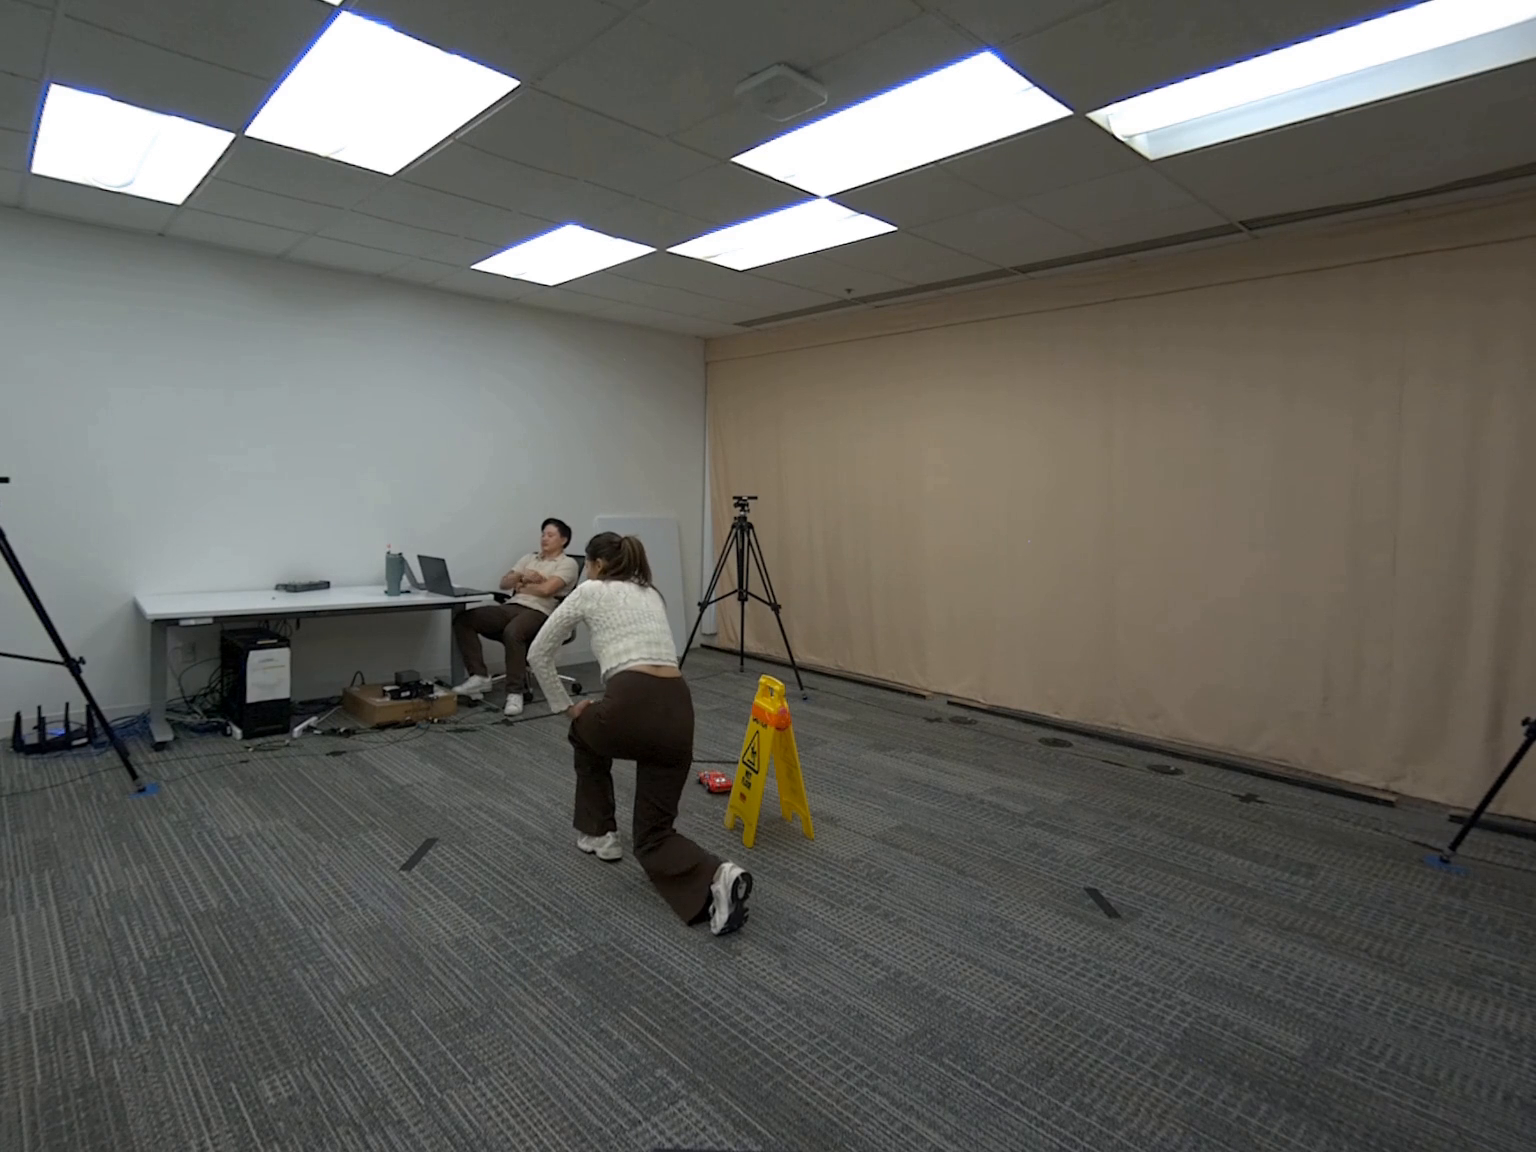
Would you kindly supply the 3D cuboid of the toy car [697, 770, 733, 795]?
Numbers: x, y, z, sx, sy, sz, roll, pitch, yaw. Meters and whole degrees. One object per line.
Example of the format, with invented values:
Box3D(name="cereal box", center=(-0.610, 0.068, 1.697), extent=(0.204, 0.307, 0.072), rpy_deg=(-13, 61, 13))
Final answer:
Box3D(name="toy car", center=(-0.266, 0.988, 4.044), extent=(0.128, 0.083, 0.257), rpy_deg=(0, -6, -22))
